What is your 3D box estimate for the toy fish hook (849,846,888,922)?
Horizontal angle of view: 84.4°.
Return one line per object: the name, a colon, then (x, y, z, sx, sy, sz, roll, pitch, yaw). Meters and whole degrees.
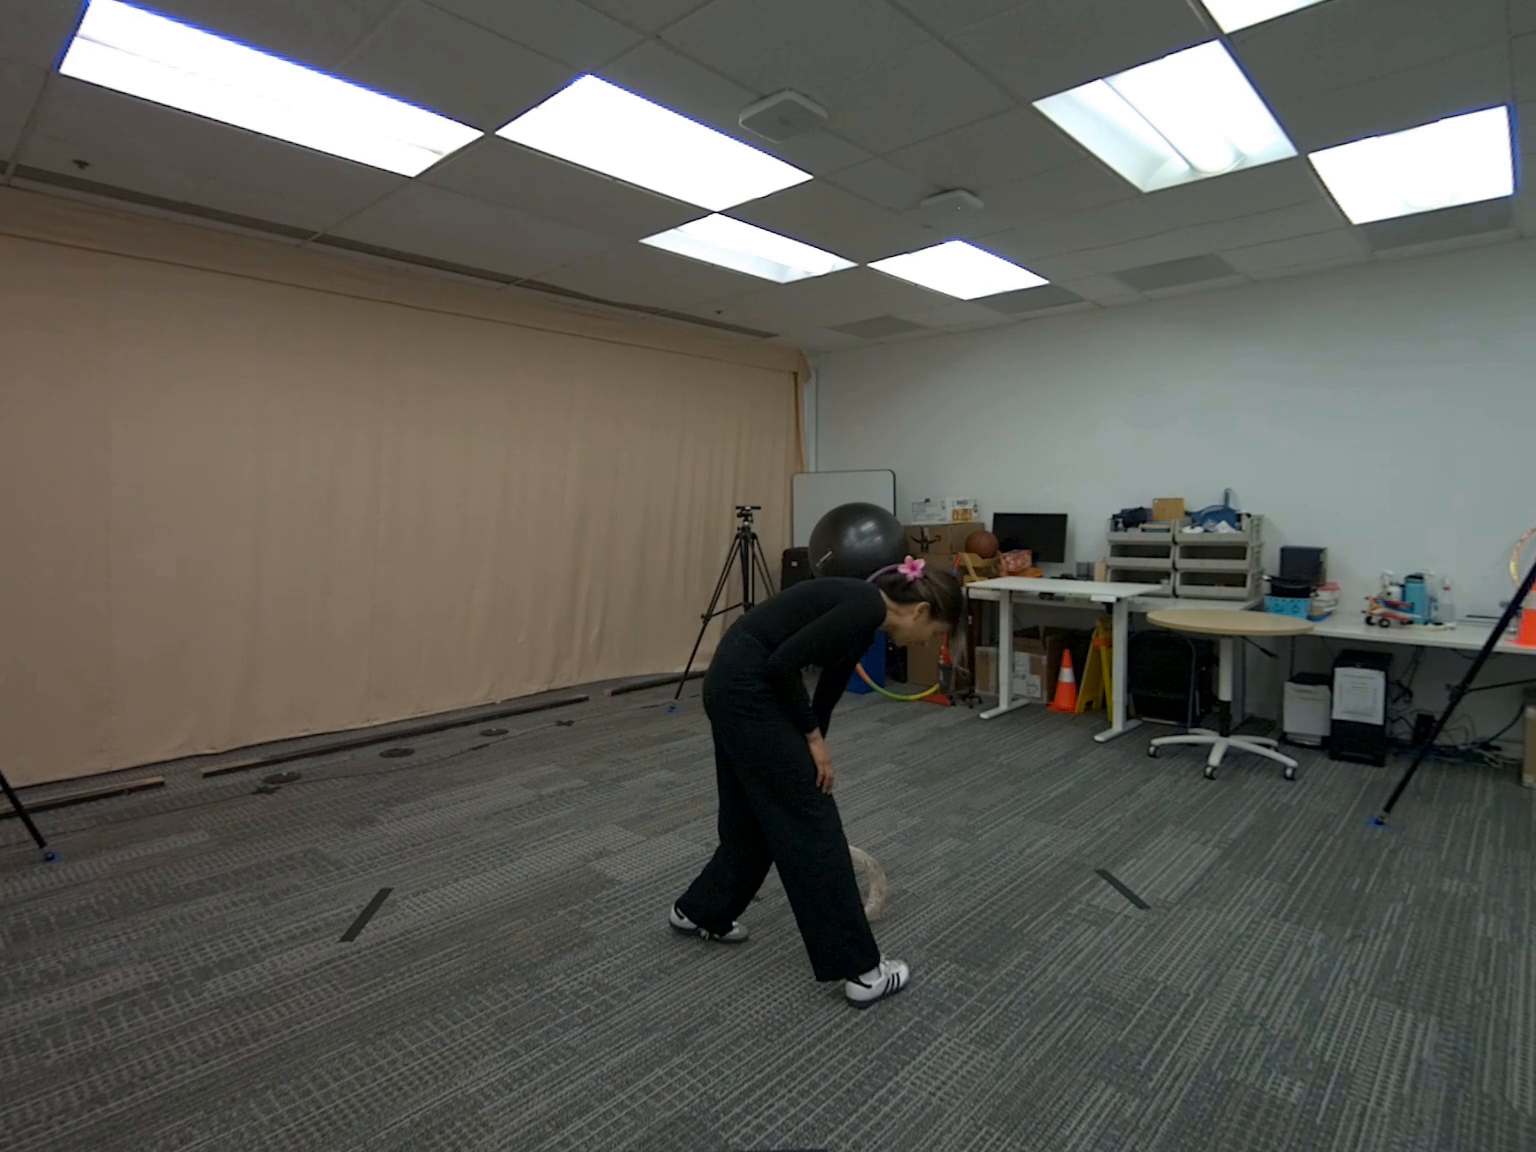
toy fish hook: (0.229, 0.957, 2.792, 0.049, 0.497, 0.224, -31, 22, 46)
